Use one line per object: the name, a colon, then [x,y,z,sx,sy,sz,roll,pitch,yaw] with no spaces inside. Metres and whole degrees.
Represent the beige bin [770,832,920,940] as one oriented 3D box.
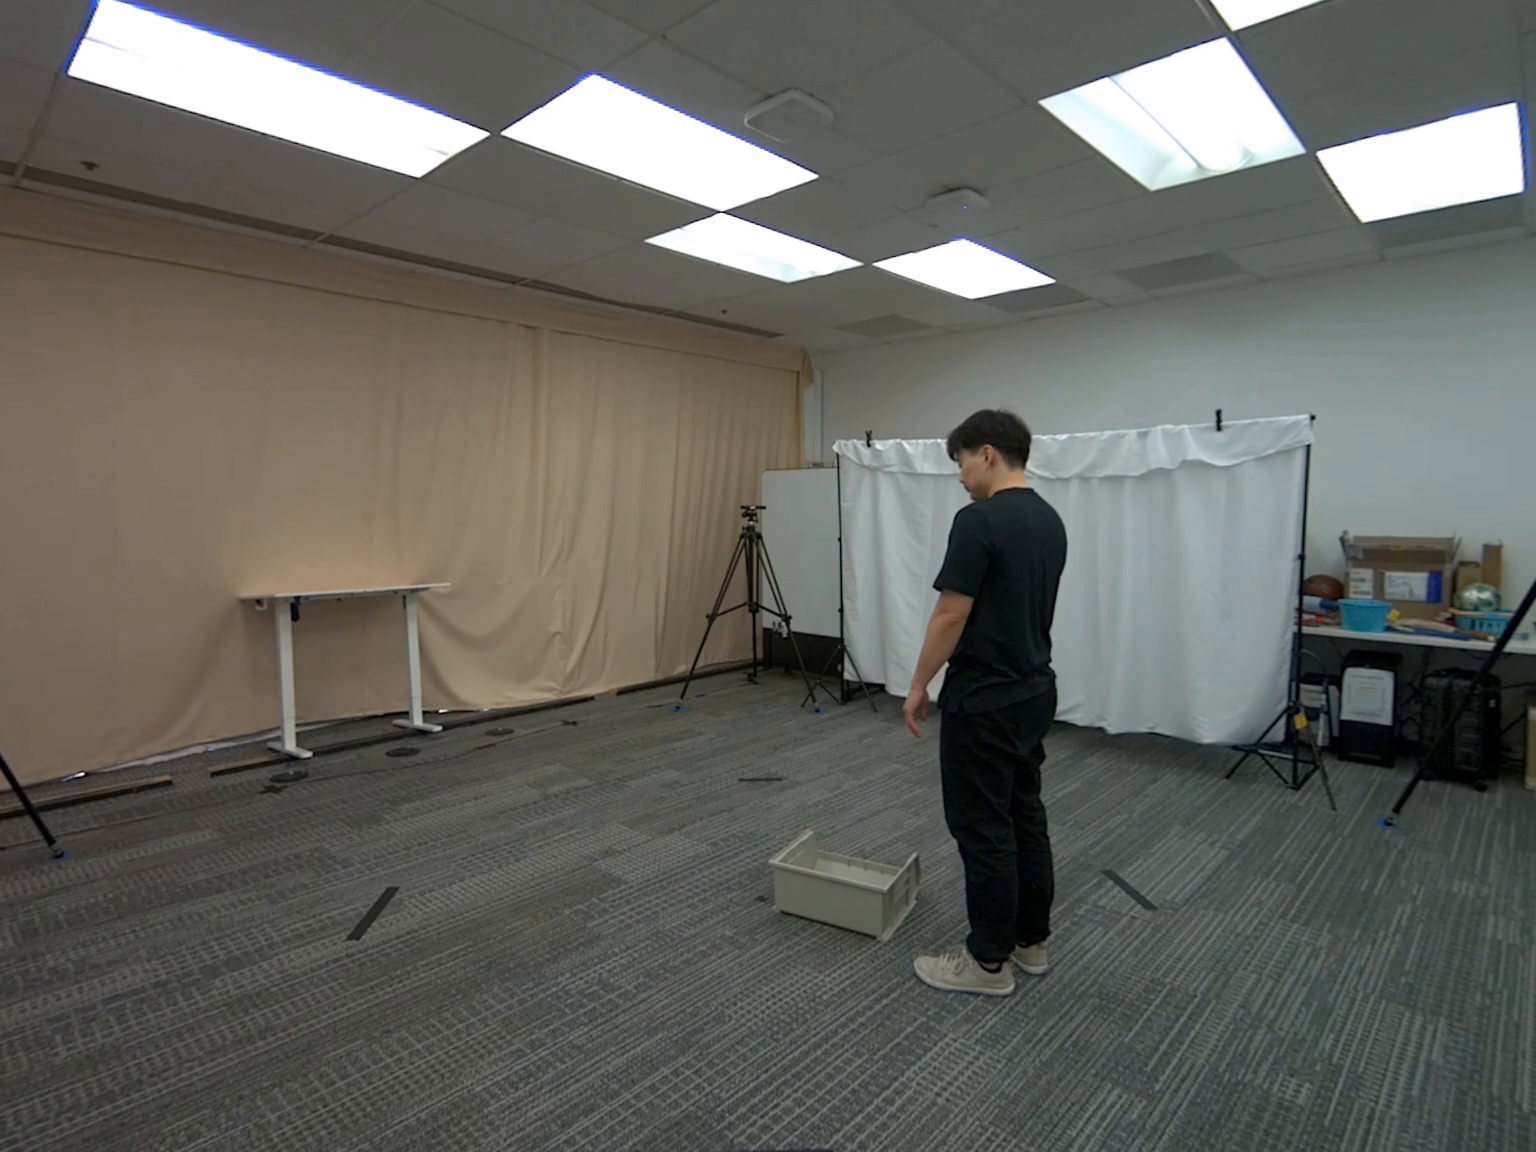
beige bin: [0.278,1.058,2.932,0.434,0.188,0.368,3,7,29]
